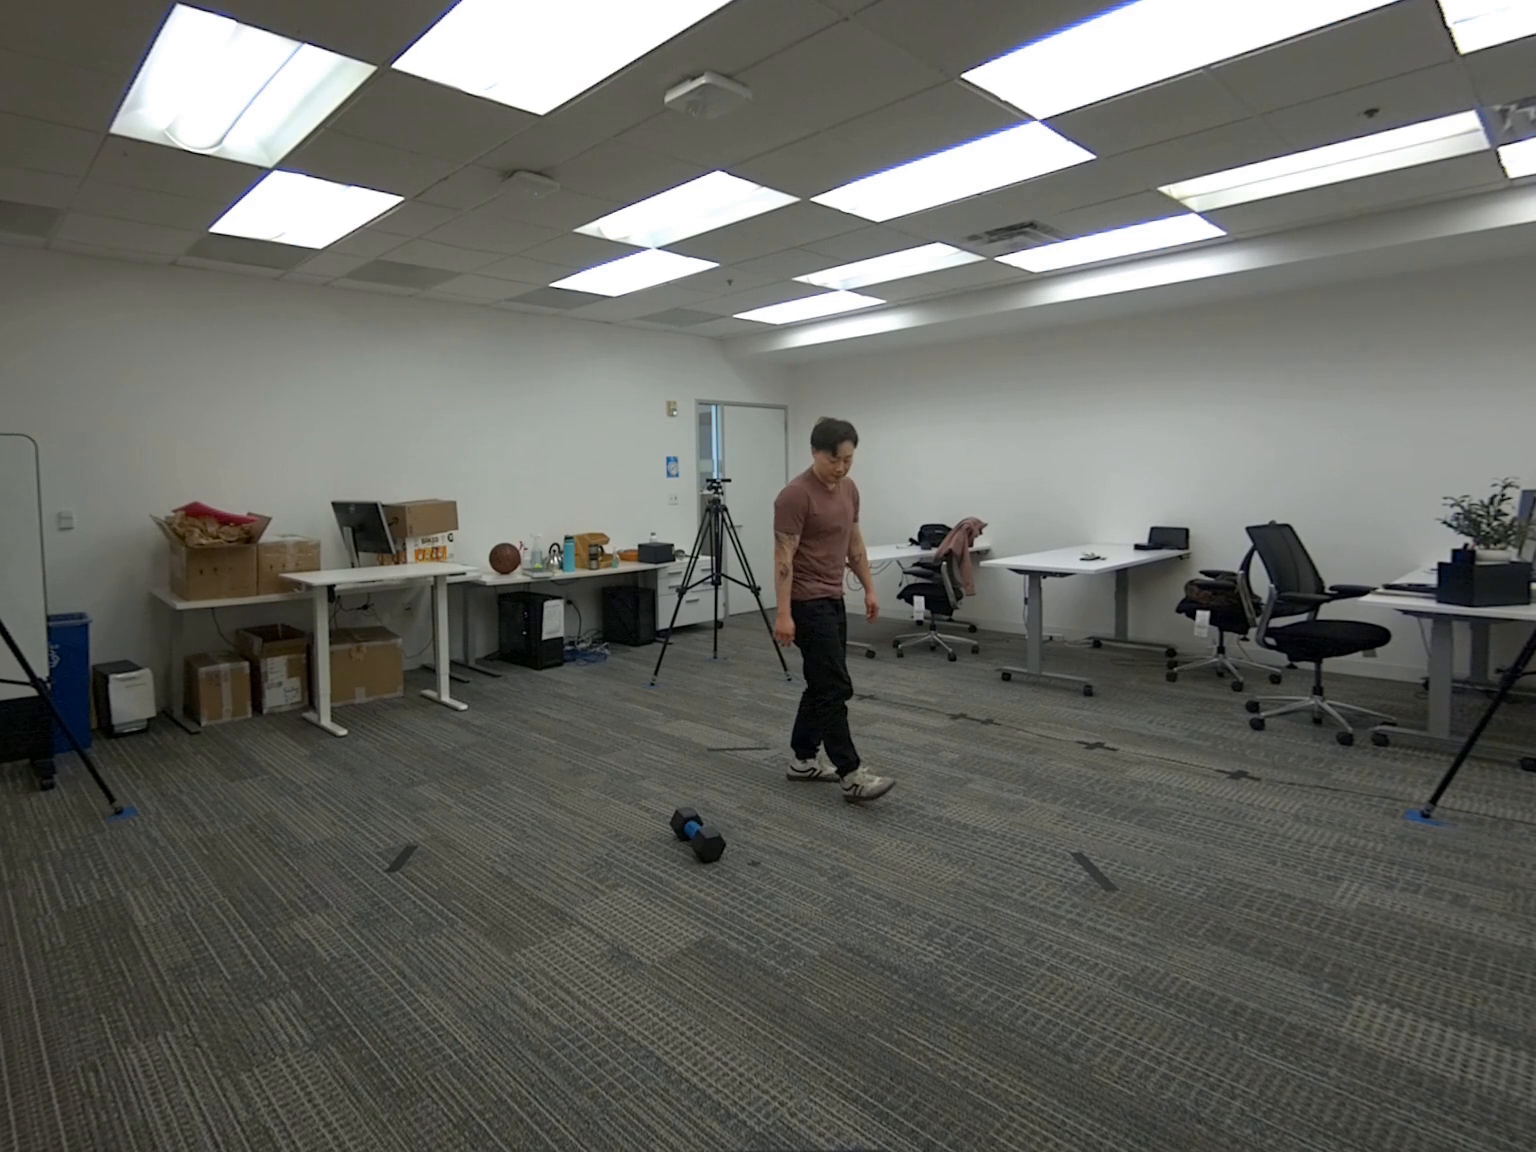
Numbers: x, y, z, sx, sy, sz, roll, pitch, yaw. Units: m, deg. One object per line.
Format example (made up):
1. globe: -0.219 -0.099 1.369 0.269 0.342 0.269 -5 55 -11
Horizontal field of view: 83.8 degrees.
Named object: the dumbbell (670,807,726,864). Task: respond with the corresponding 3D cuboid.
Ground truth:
1. dumbbell: -0.267 0.979 3.241 0.108 0.120 0.301 -36 19 -19
